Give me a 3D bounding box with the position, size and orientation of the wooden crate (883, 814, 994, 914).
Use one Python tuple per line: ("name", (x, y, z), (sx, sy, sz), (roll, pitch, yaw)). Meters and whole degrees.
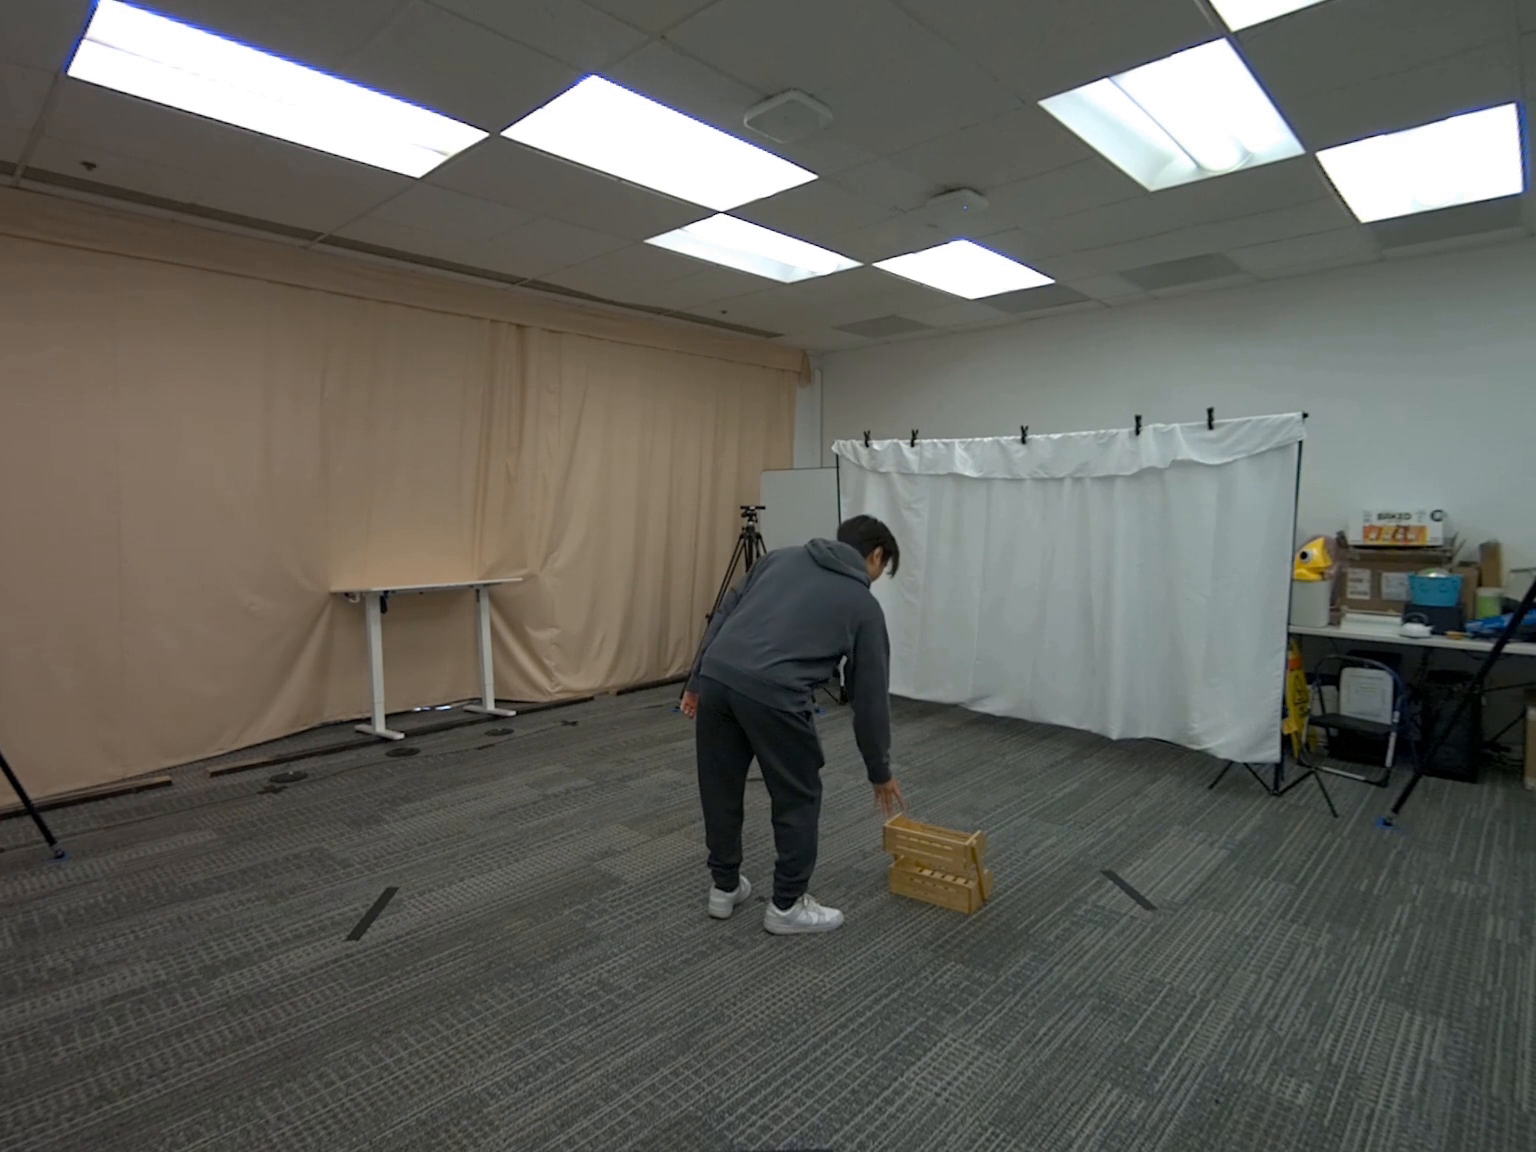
("wooden crate", (0.626, 1.011, 3.022), (0.334, 0.273, 0.293), (3, 5, 34))
